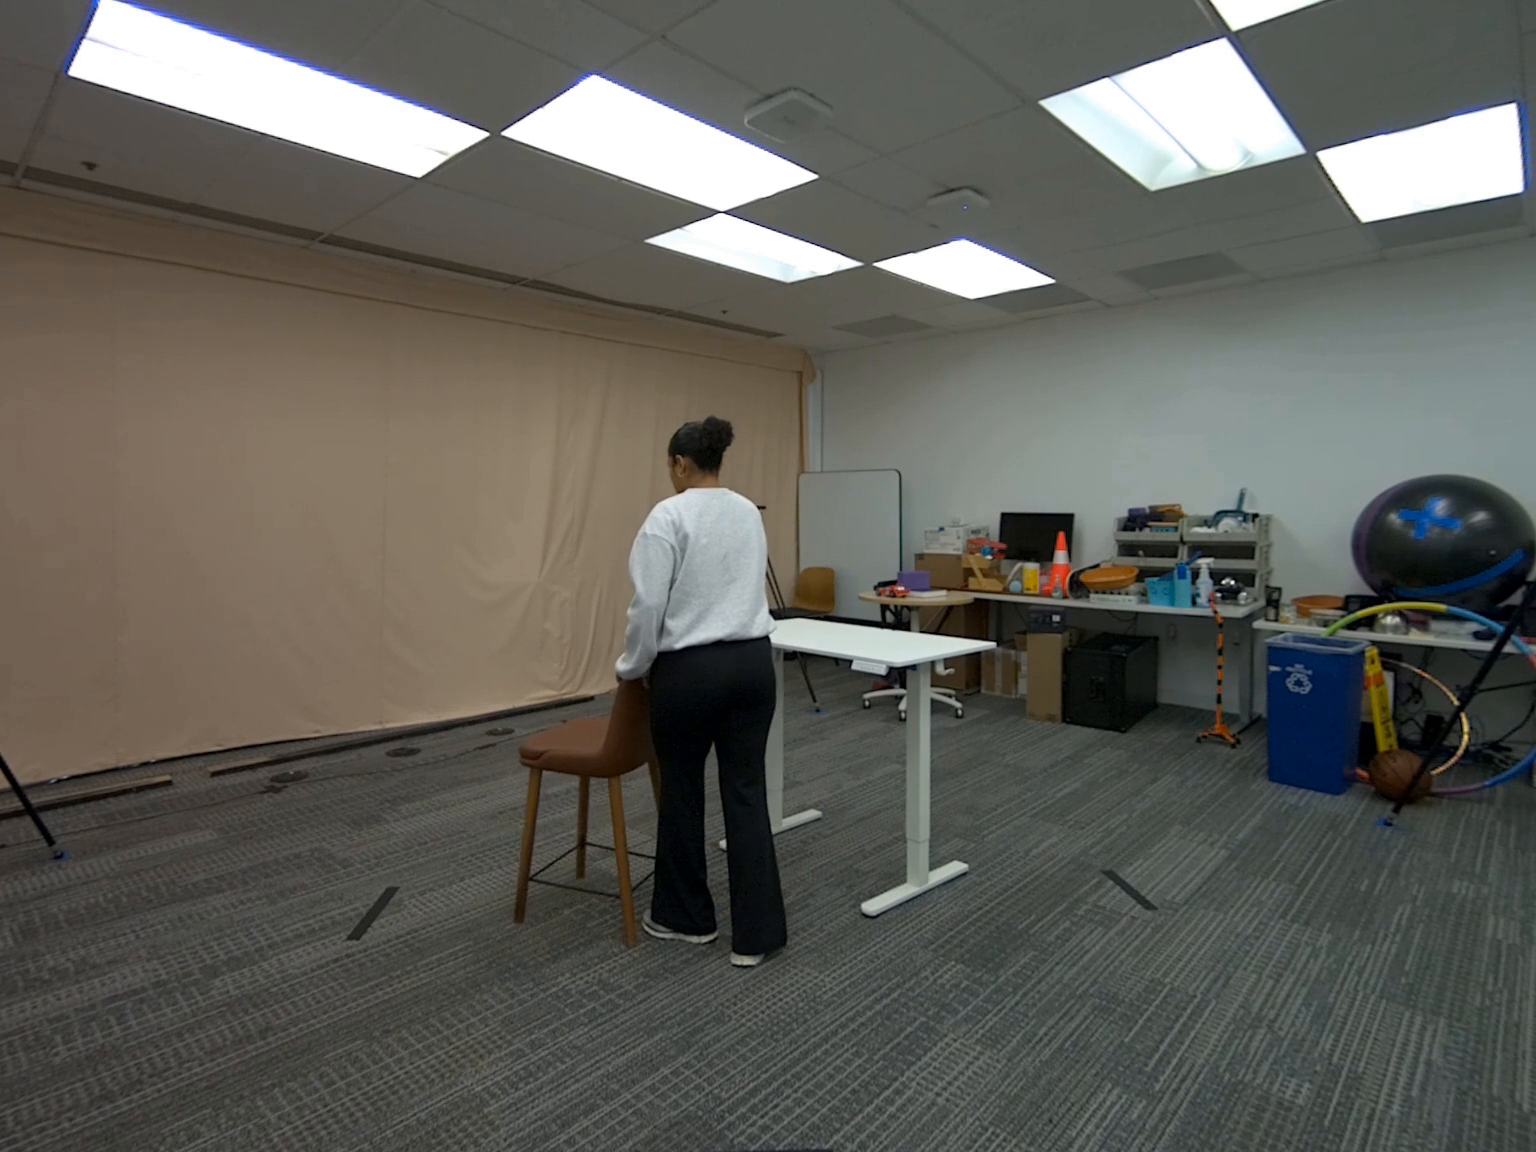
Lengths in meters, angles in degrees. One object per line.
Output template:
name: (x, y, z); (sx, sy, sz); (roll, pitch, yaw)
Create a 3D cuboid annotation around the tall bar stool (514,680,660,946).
tall bar stool: (-0.566, 0.721, 2.898); (0.479, 0.887, 0.446); (3, 4, 23)
